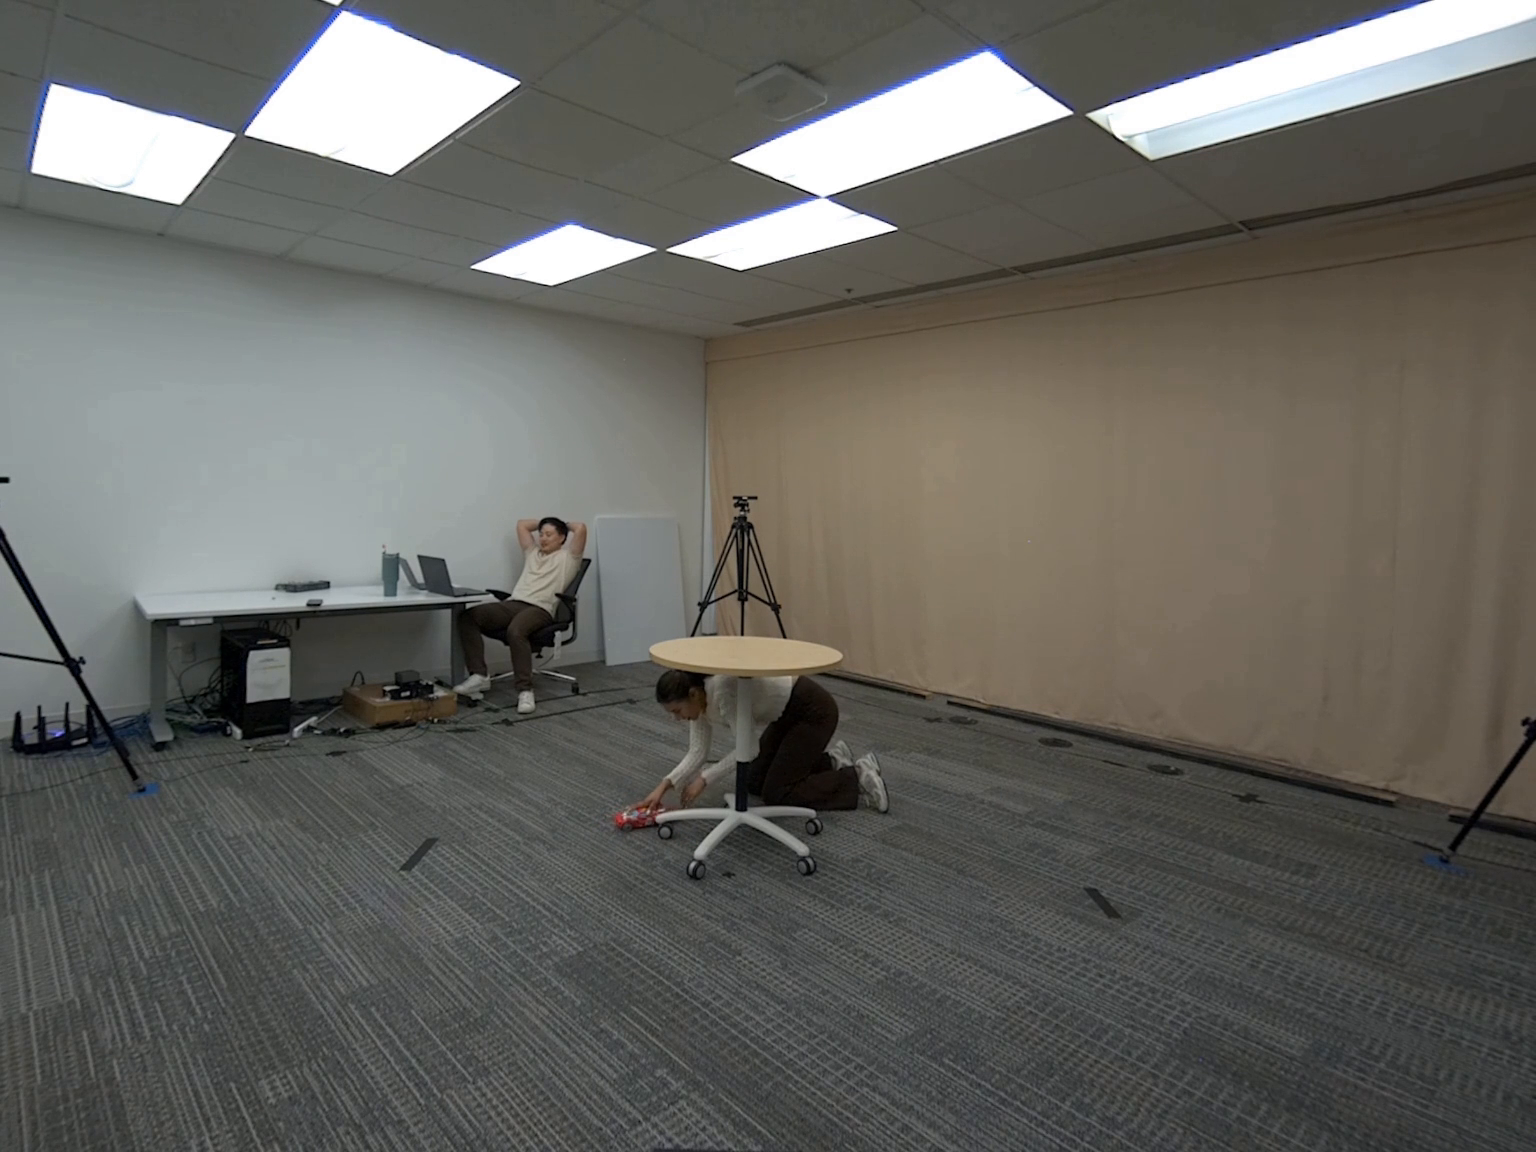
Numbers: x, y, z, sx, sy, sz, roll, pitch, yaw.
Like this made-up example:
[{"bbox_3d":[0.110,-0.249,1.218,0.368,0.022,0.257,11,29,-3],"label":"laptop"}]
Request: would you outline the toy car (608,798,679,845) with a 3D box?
[{"bbox_3d":[-0.527,1.029,3.562,0.251,0.083,0.133,-11,8,-22],"label":"toy car"}]
